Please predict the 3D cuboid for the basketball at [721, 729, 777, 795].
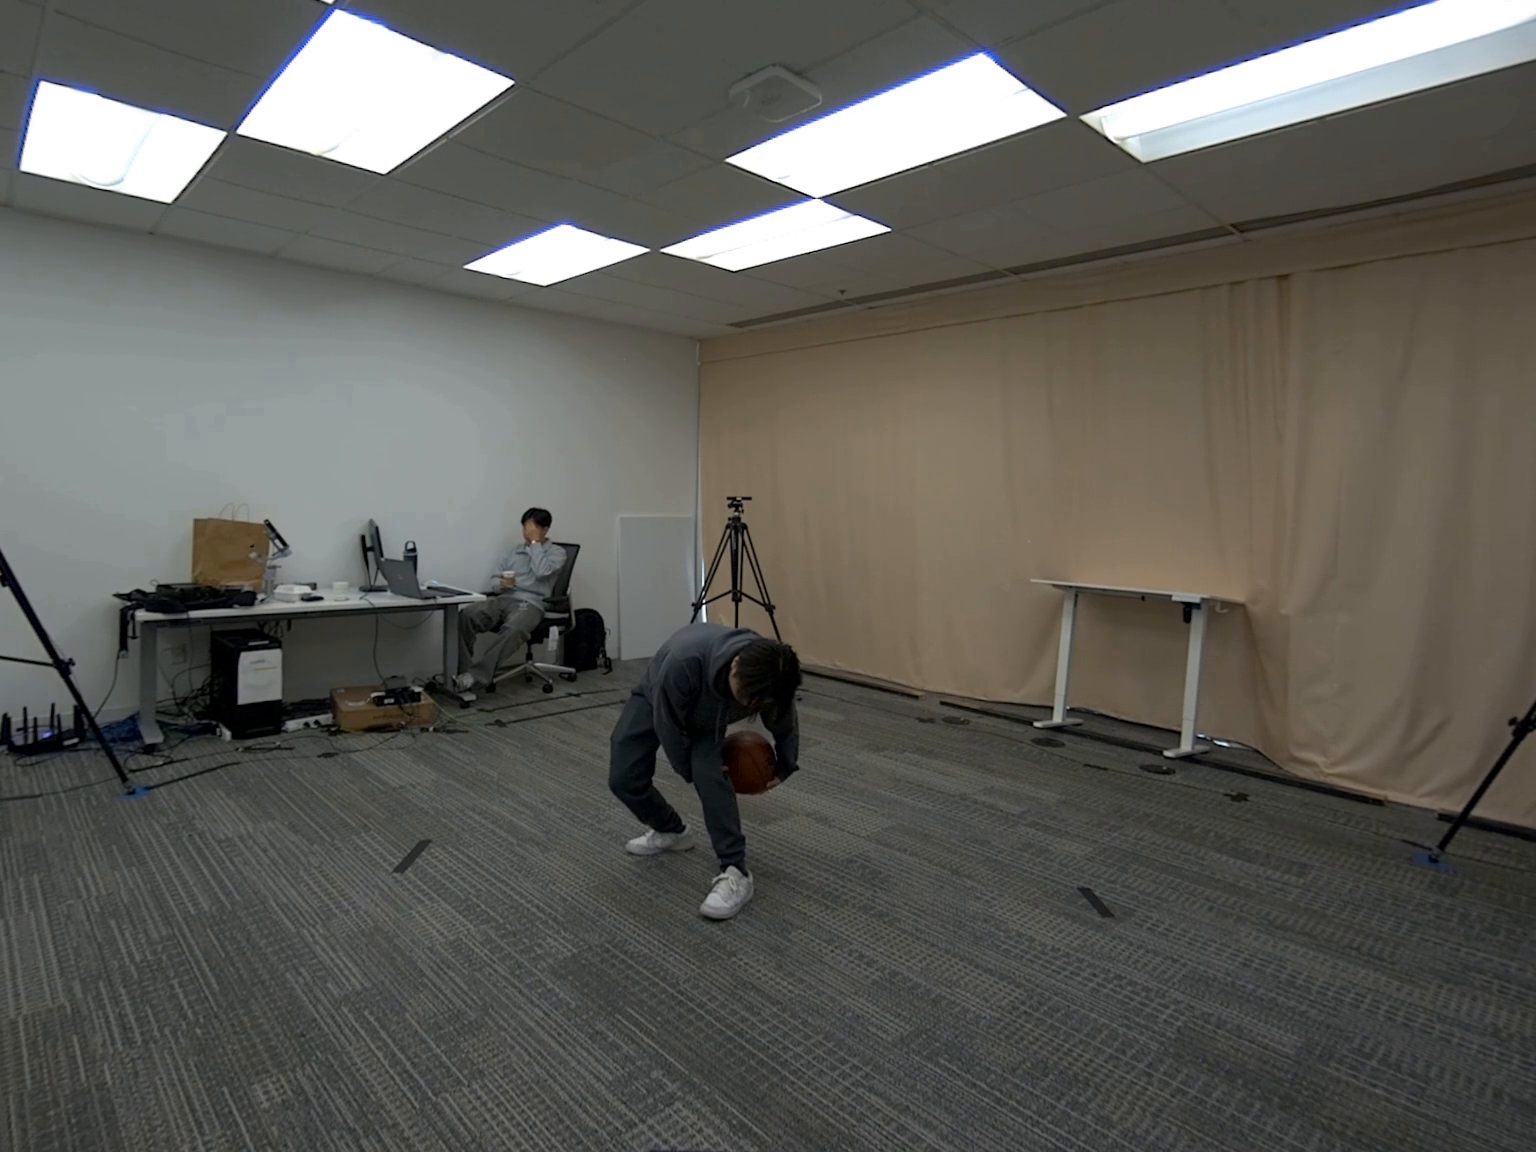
[{"bbox_3d":[-0.098,0.710,3.242,0.236,0.235,0.237,1,4,-1],"label":"basketball"}]
